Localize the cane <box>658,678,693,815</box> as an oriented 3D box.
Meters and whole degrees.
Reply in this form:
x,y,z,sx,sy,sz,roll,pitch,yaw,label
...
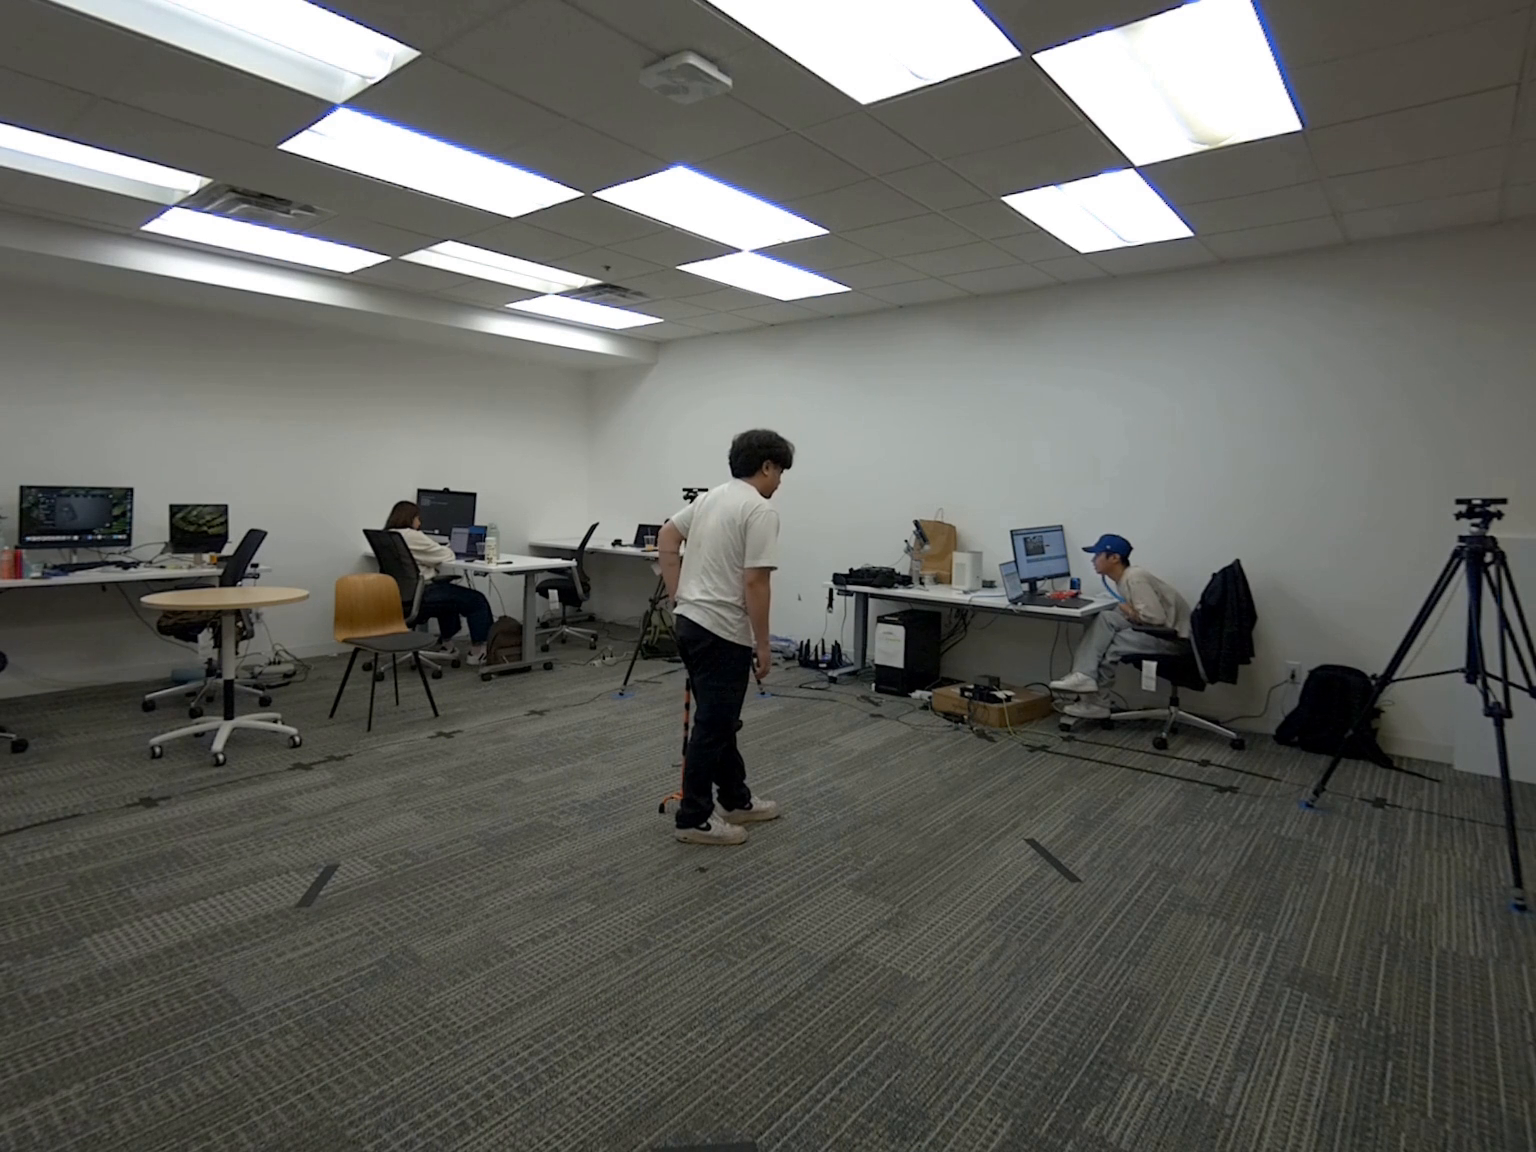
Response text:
x,y,z,sx,sy,sz,roll,pitch,yaw,label
-0.345,0.555,3.675,0.157,0.907,0.200,3,1,42,cane
